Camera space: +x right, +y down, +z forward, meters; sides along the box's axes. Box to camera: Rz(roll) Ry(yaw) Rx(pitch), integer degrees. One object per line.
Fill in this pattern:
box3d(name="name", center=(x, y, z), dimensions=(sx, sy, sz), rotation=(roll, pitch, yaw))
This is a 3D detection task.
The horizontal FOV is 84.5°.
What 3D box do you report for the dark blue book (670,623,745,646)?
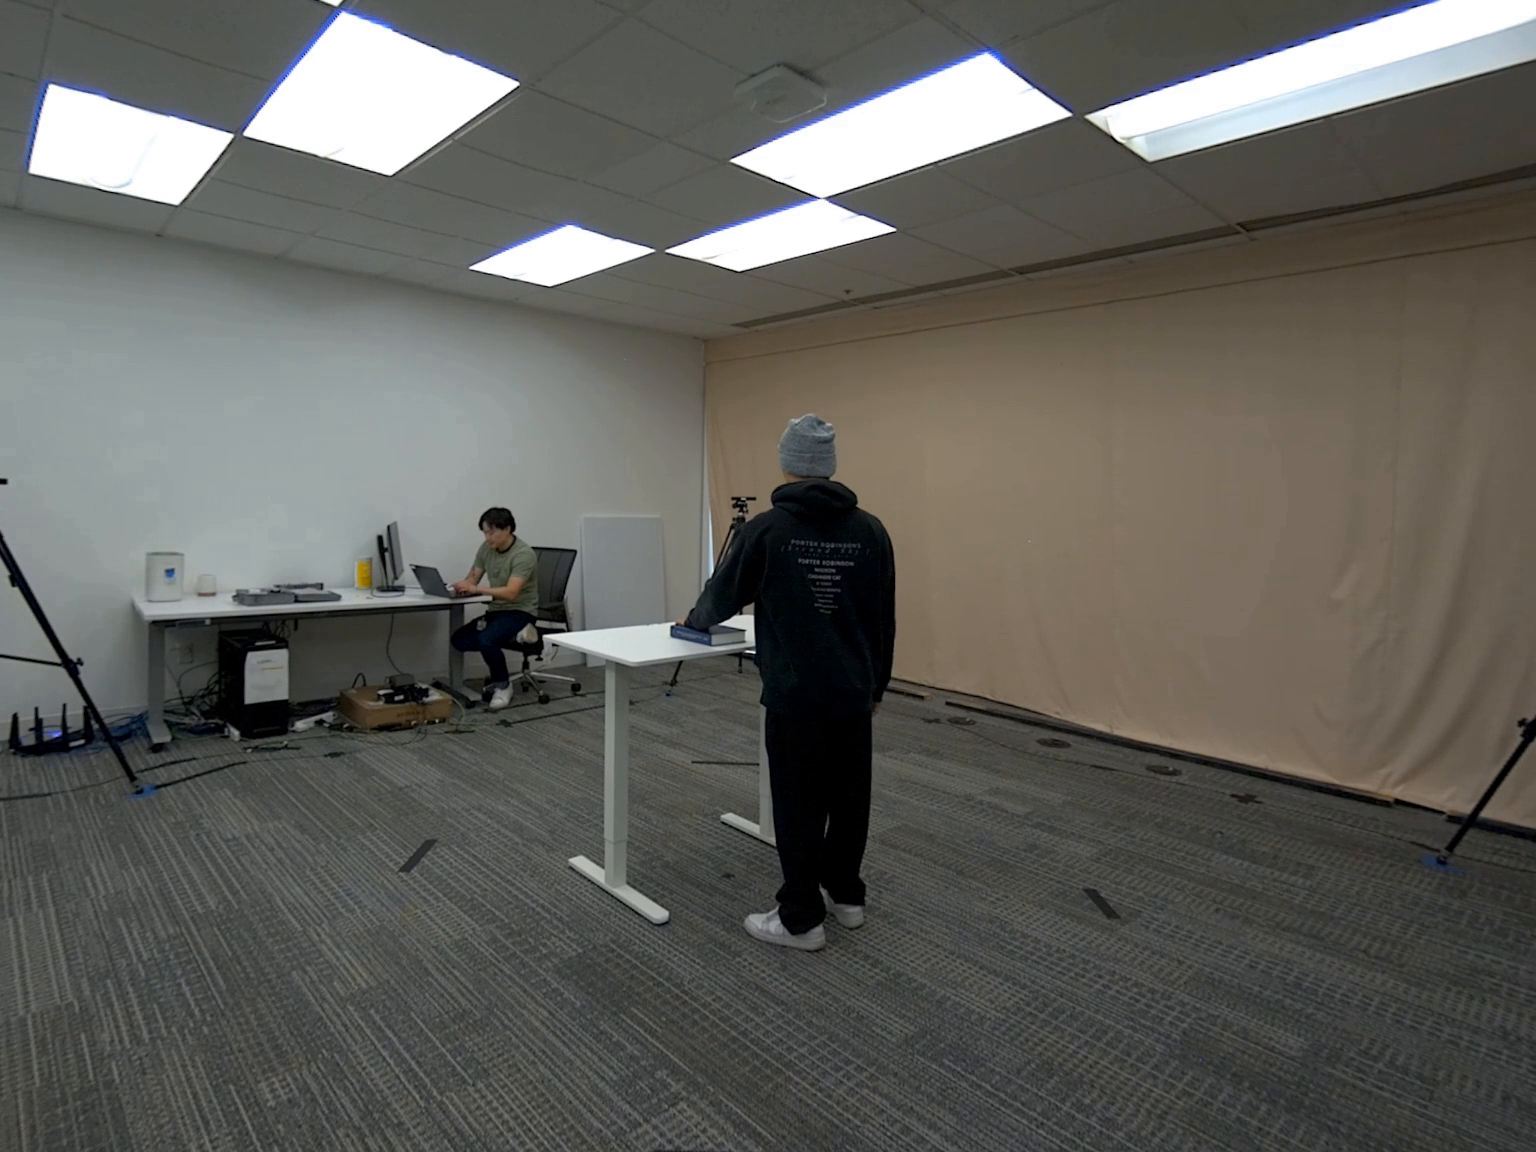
box3d(name="dark blue book", center=(-0.215, 0.211, 3.025), dimensions=(0.160, 0.045, 0.251), rotation=(-4, 6, -42))
